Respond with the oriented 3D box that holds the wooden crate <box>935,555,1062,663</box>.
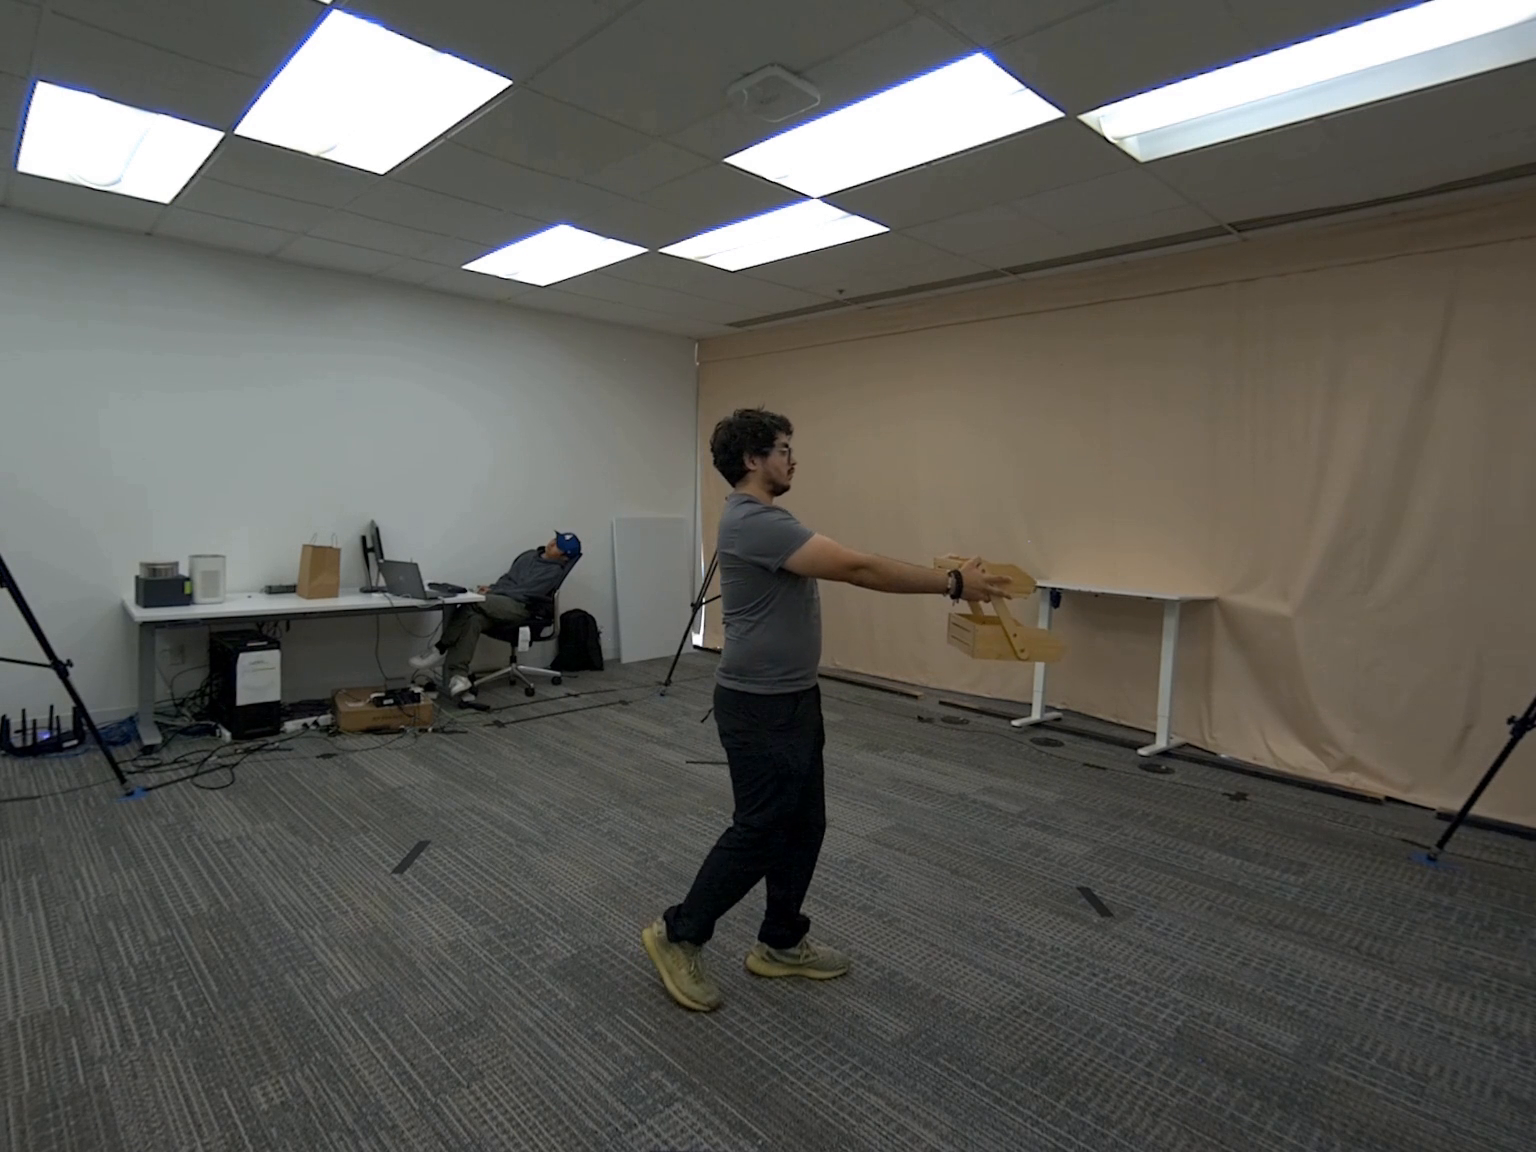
[{"bbox_3d":[0.651,0.085,2.396,0.302,0.273,0.325,1,3,0],"label":"wooden crate"}]
